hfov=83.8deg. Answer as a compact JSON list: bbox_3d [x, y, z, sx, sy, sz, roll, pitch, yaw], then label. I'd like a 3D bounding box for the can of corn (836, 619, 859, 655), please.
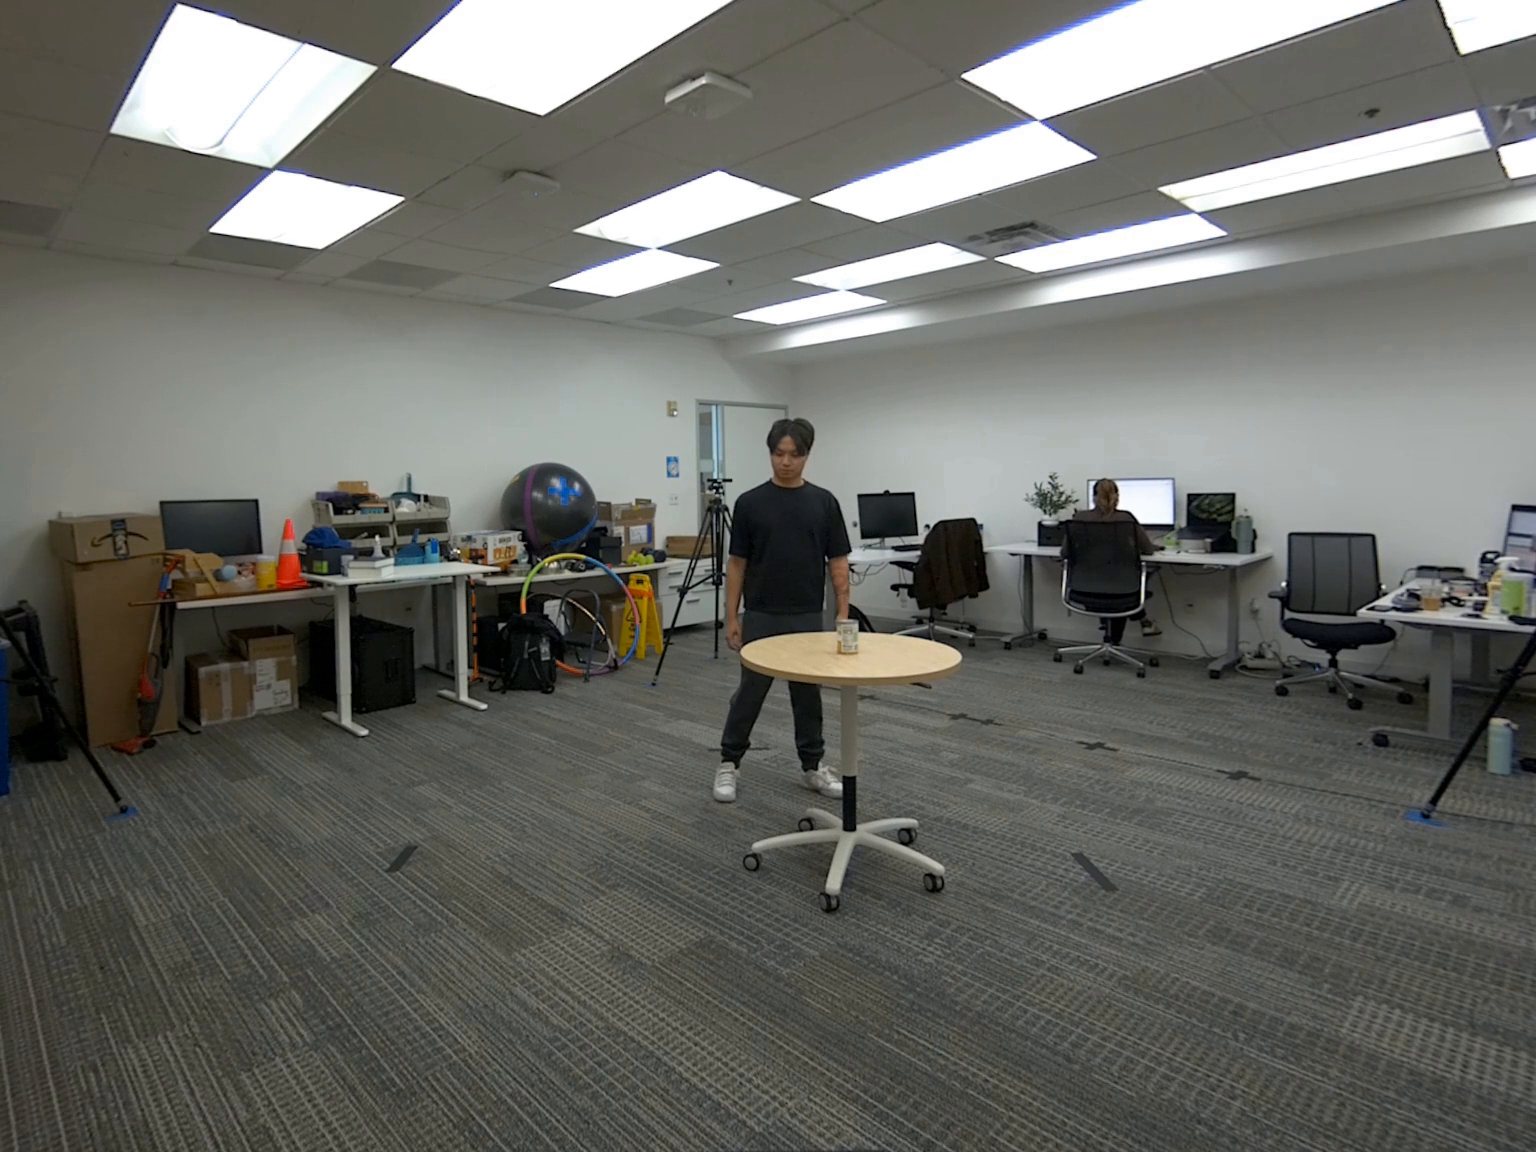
[{"bbox_3d":[0.282,0.218,2.991,0.074,0.110,0.074,1,4,-2],"label":"can of corn"}]
